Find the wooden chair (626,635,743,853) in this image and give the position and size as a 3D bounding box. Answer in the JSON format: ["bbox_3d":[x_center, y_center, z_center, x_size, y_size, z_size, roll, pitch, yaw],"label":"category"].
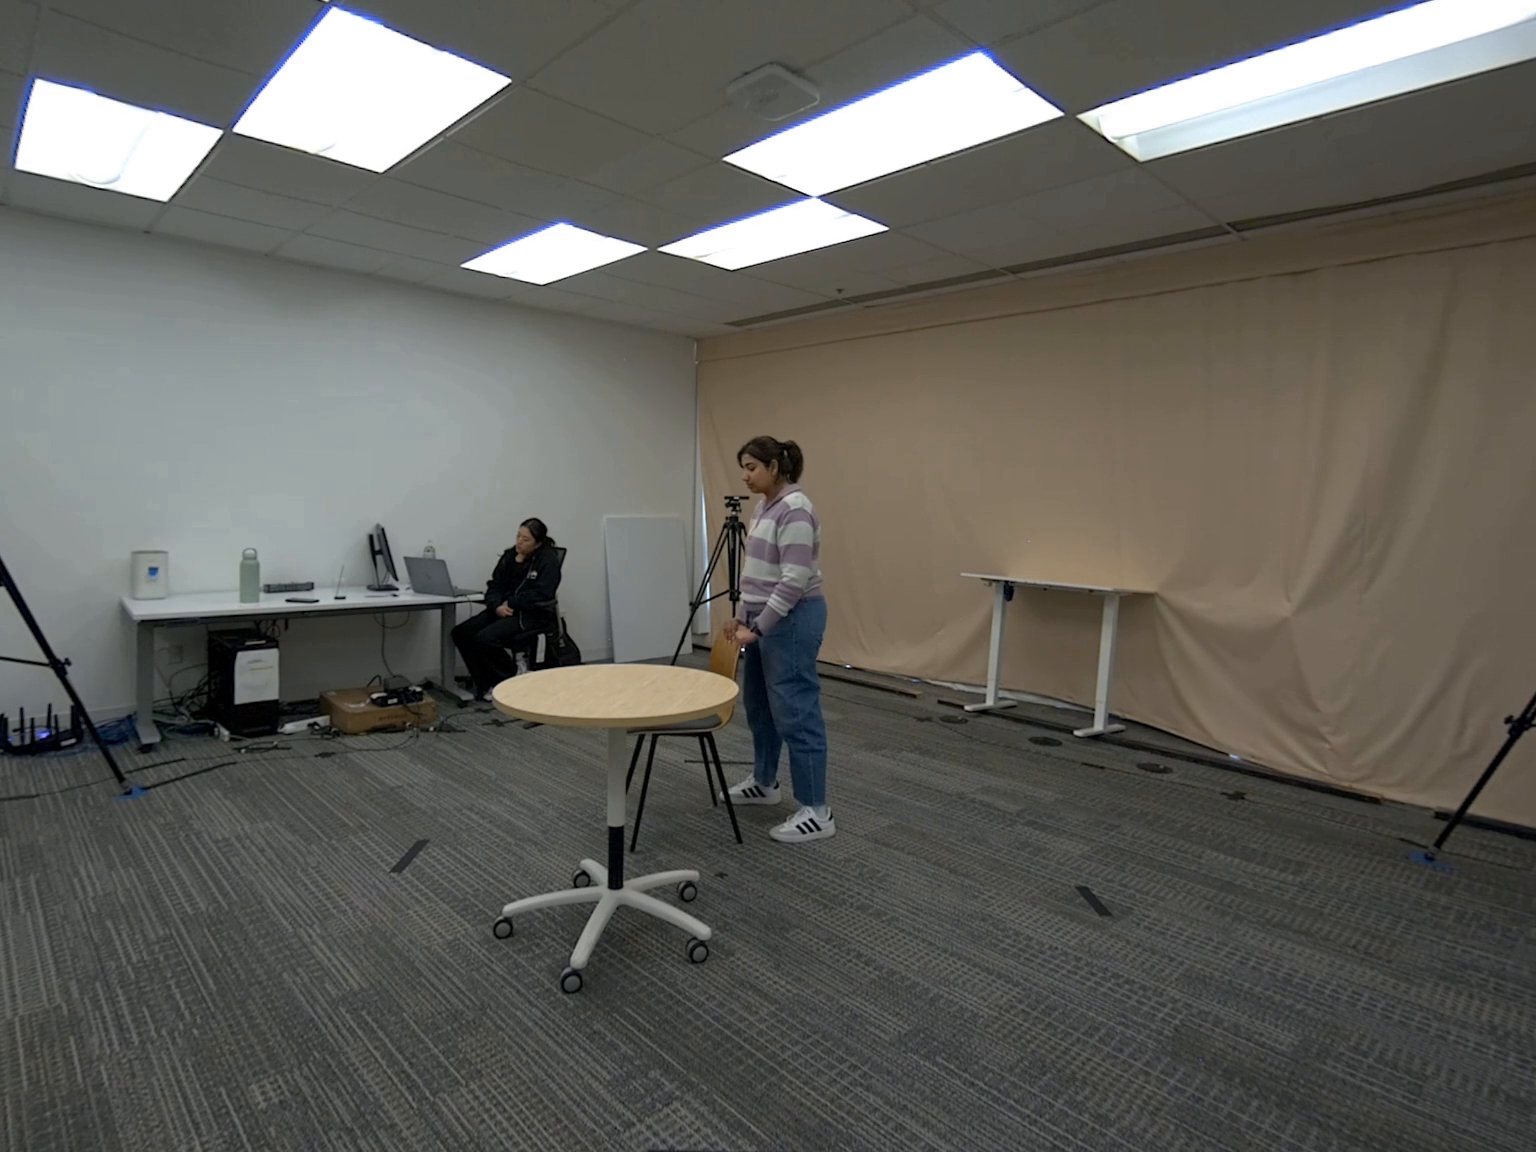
[{"bbox_3d":[-0.384,0.637,3.511,0.516,0.876,0.485,5,2,-16],"label":"wooden chair"}]
